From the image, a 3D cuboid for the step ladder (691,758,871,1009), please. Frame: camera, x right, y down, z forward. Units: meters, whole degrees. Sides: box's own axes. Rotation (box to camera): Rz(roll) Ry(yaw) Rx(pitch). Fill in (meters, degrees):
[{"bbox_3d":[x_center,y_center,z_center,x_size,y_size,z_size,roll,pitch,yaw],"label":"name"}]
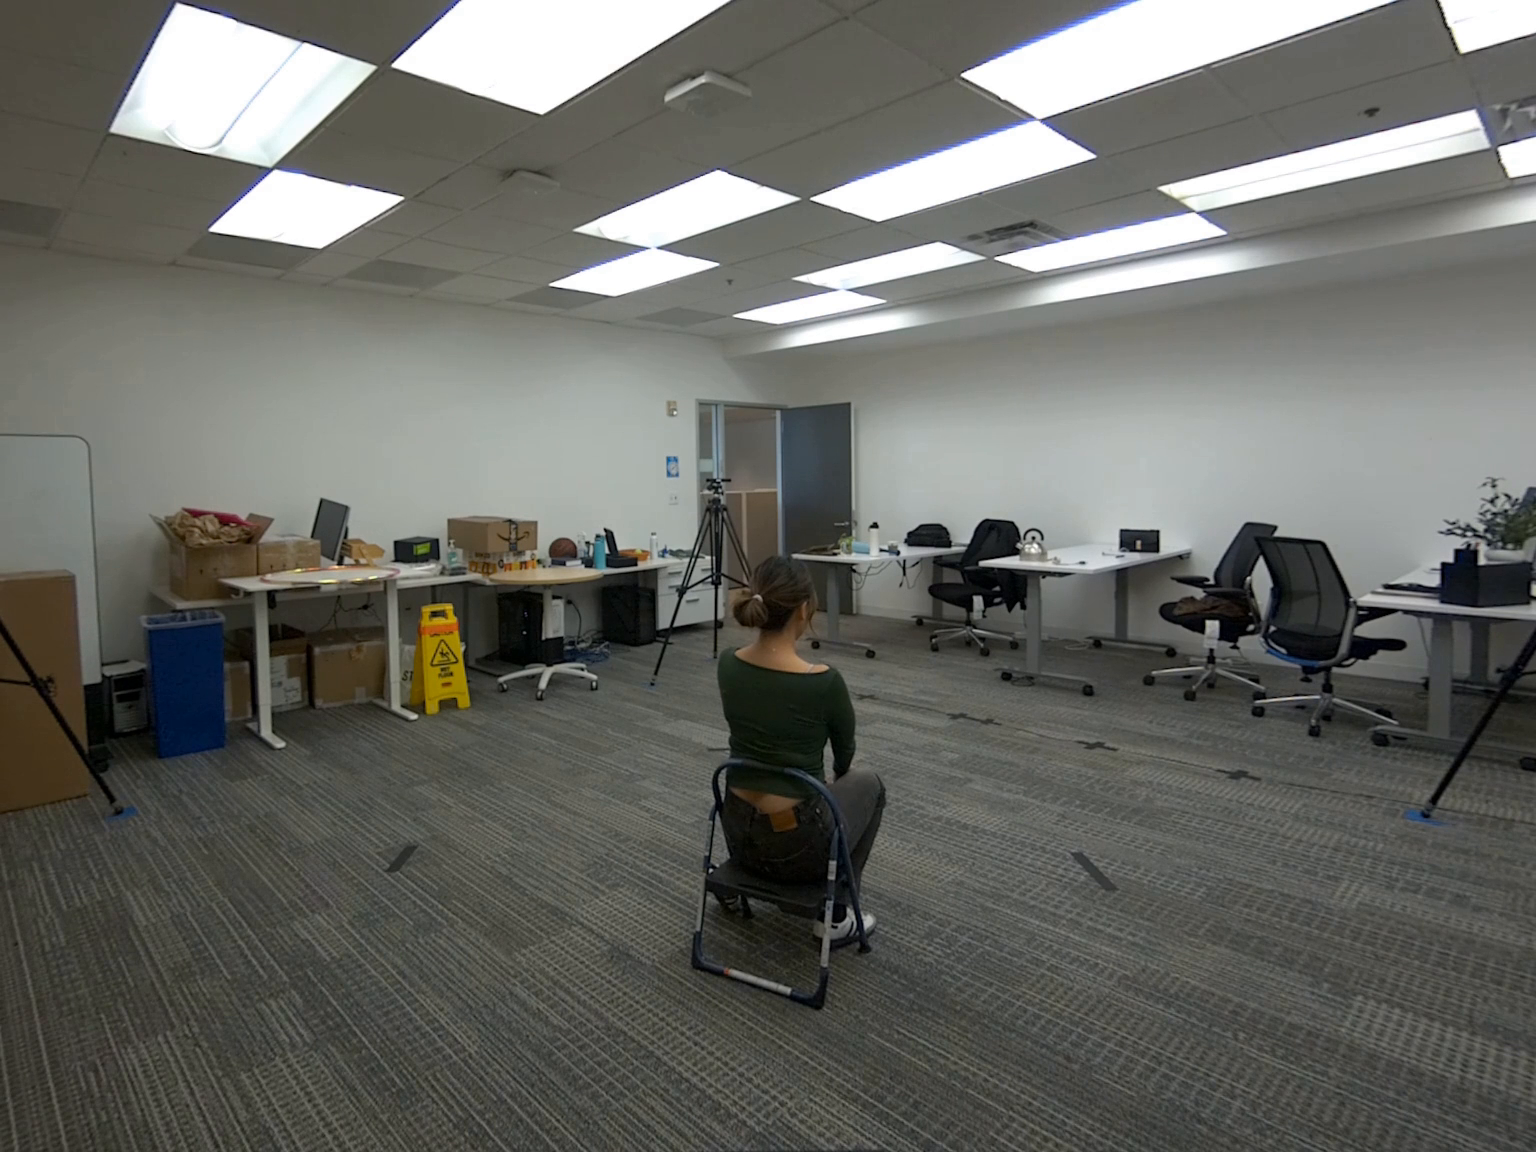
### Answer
[{"bbox_3d":[0.032,0.824,2.468,0.442,0.603,0.342,1,5,29],"label":"step ladder"}]
